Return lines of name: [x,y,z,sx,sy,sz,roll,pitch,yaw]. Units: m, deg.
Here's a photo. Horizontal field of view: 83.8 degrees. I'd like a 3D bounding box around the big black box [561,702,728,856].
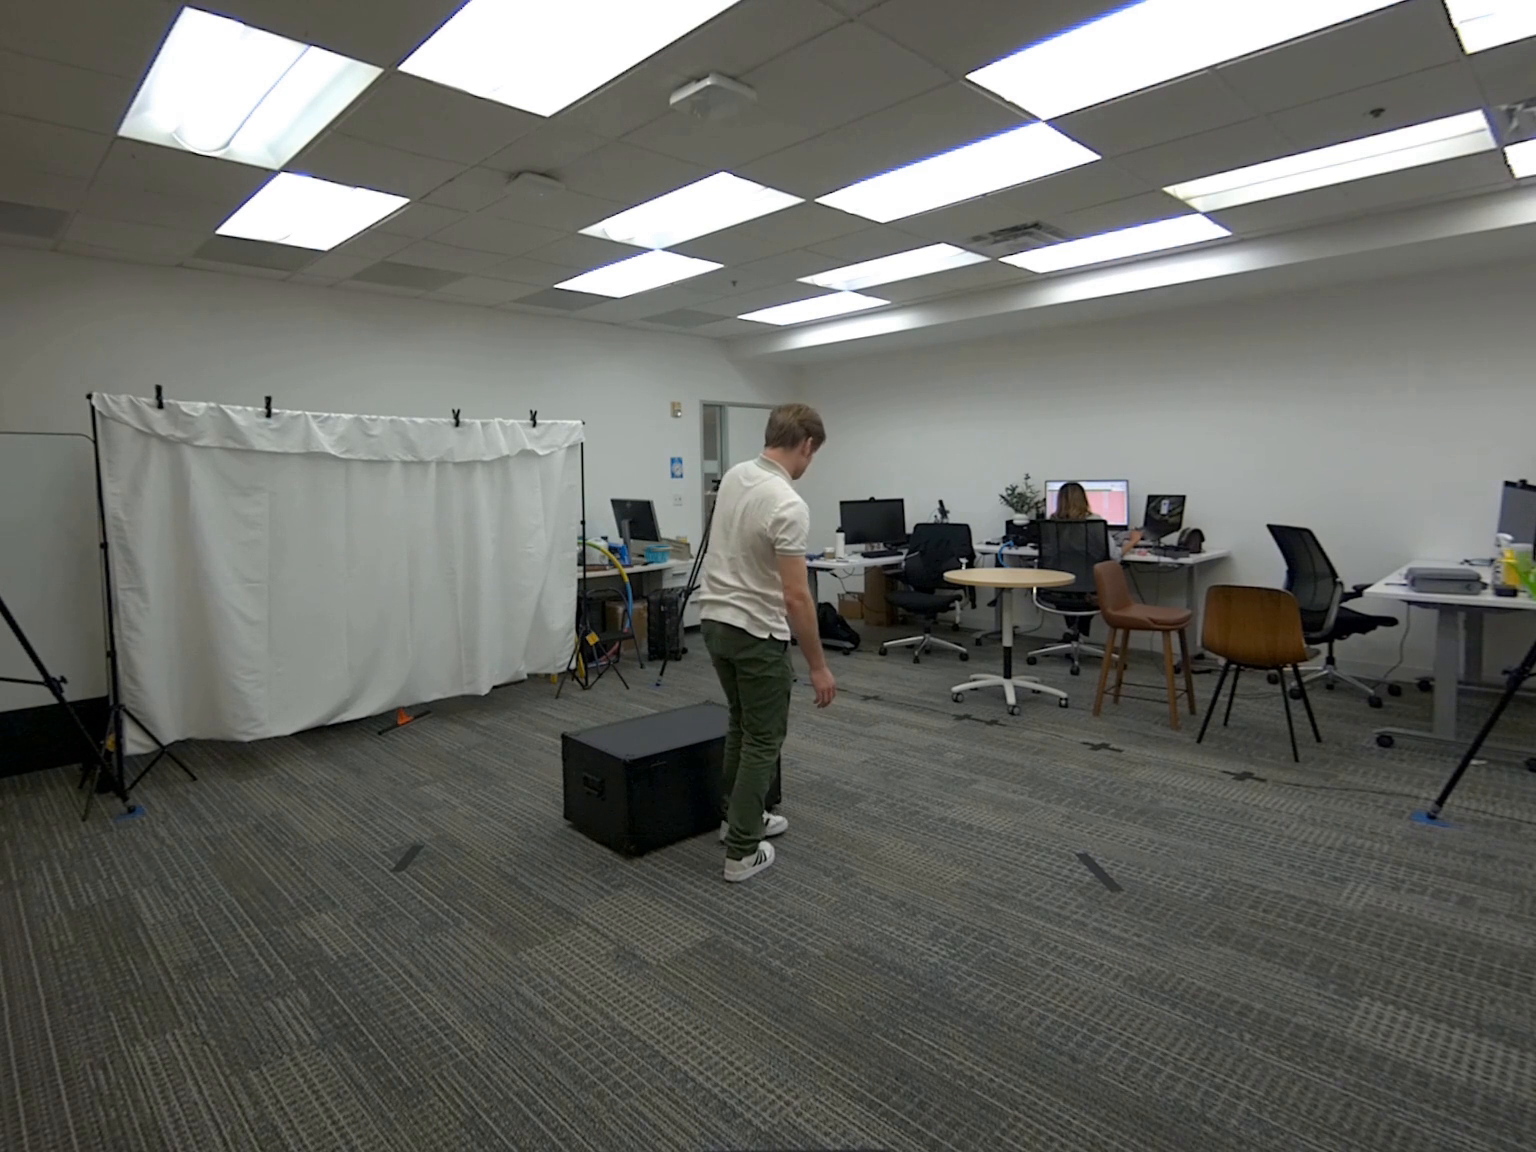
big black box: [-0.364,0.805,3.577,0.846,0.384,0.539,-6,6,-41]
